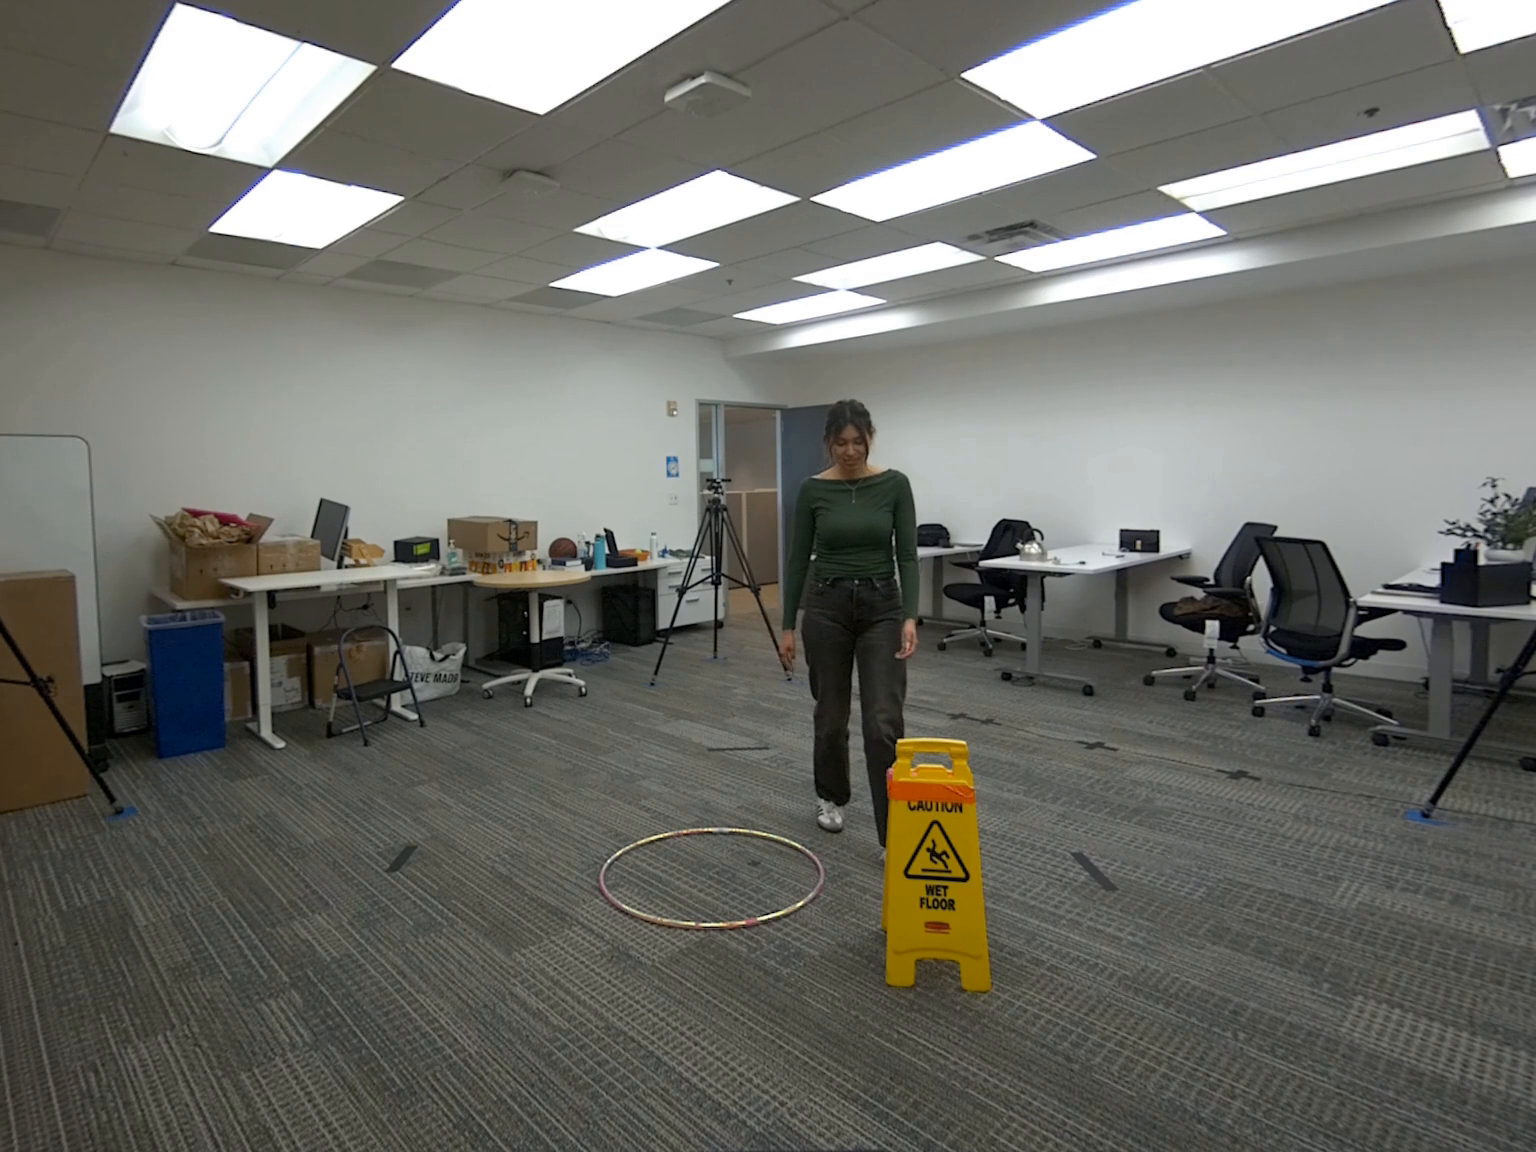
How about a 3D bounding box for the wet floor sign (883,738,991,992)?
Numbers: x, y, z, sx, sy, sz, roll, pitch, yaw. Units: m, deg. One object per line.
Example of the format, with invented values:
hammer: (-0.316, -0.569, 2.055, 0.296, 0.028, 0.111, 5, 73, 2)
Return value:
wet floor sign: (0.471, 0.791, 2.455, 0.284, 0.644, 0.288, -1, 4, 7)
